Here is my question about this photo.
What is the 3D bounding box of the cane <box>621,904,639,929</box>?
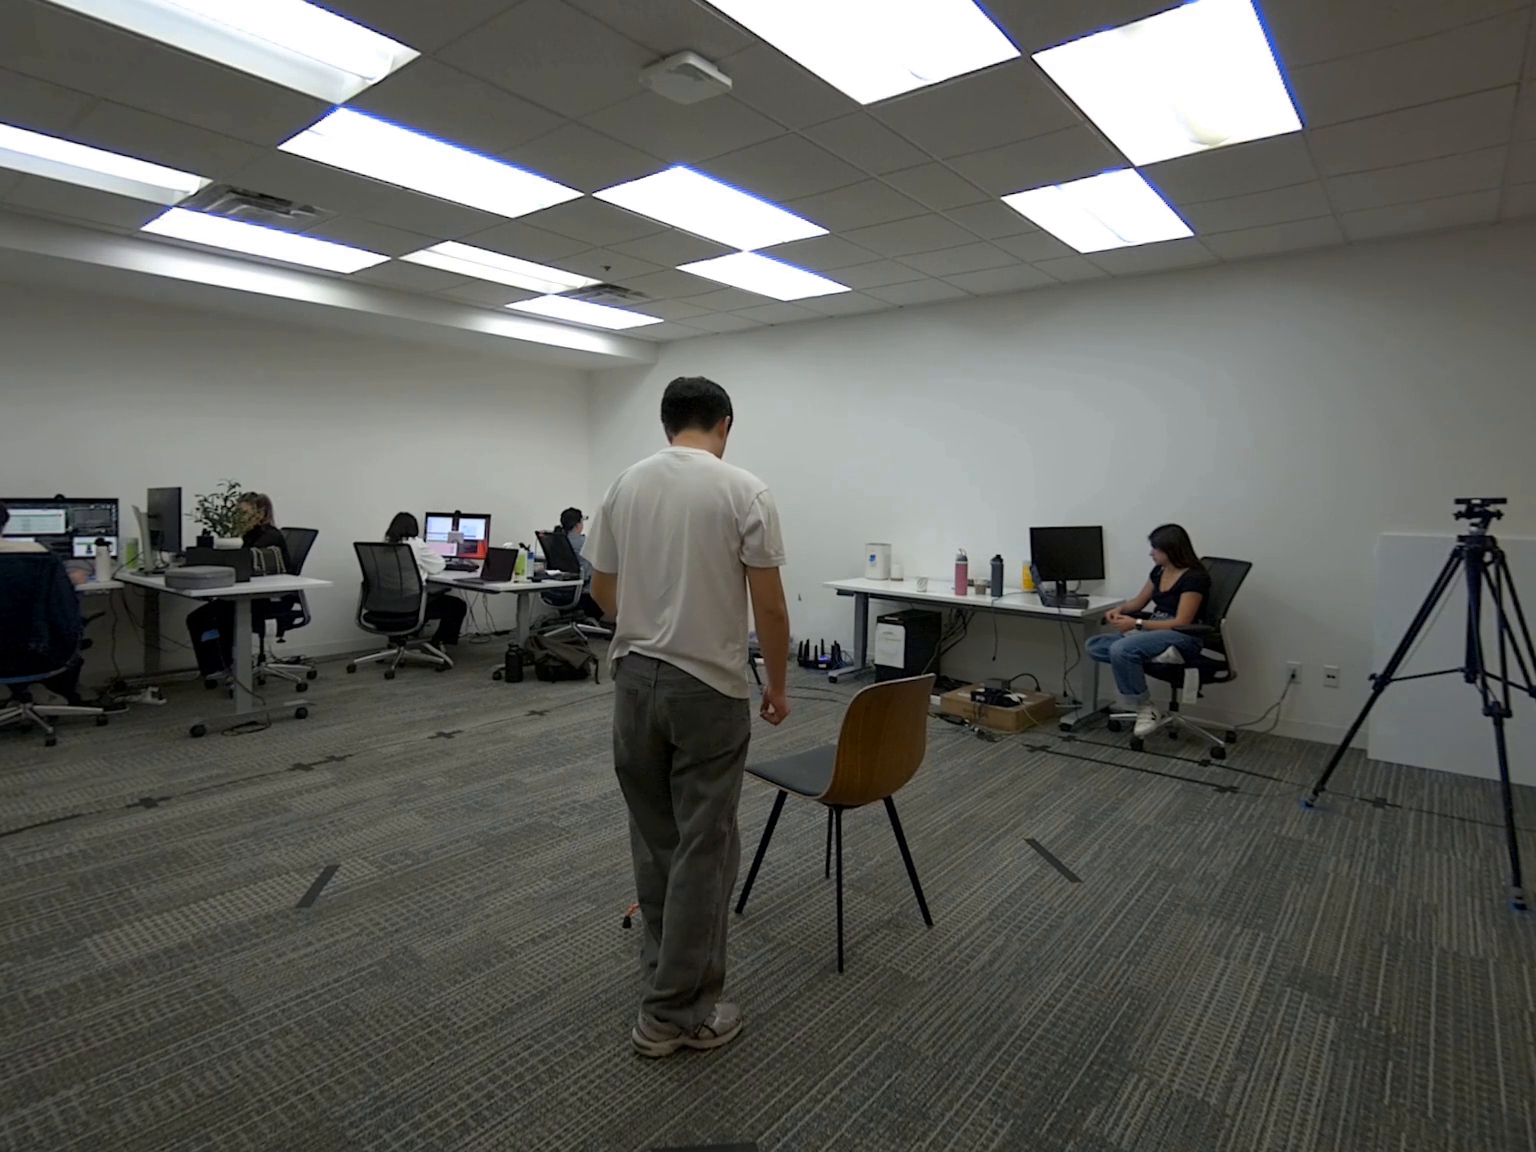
[{"bbox_3d":[-0.351,0.607,2.670,0.156,0.908,0.200,-1,0,34],"label":"cane"}]
